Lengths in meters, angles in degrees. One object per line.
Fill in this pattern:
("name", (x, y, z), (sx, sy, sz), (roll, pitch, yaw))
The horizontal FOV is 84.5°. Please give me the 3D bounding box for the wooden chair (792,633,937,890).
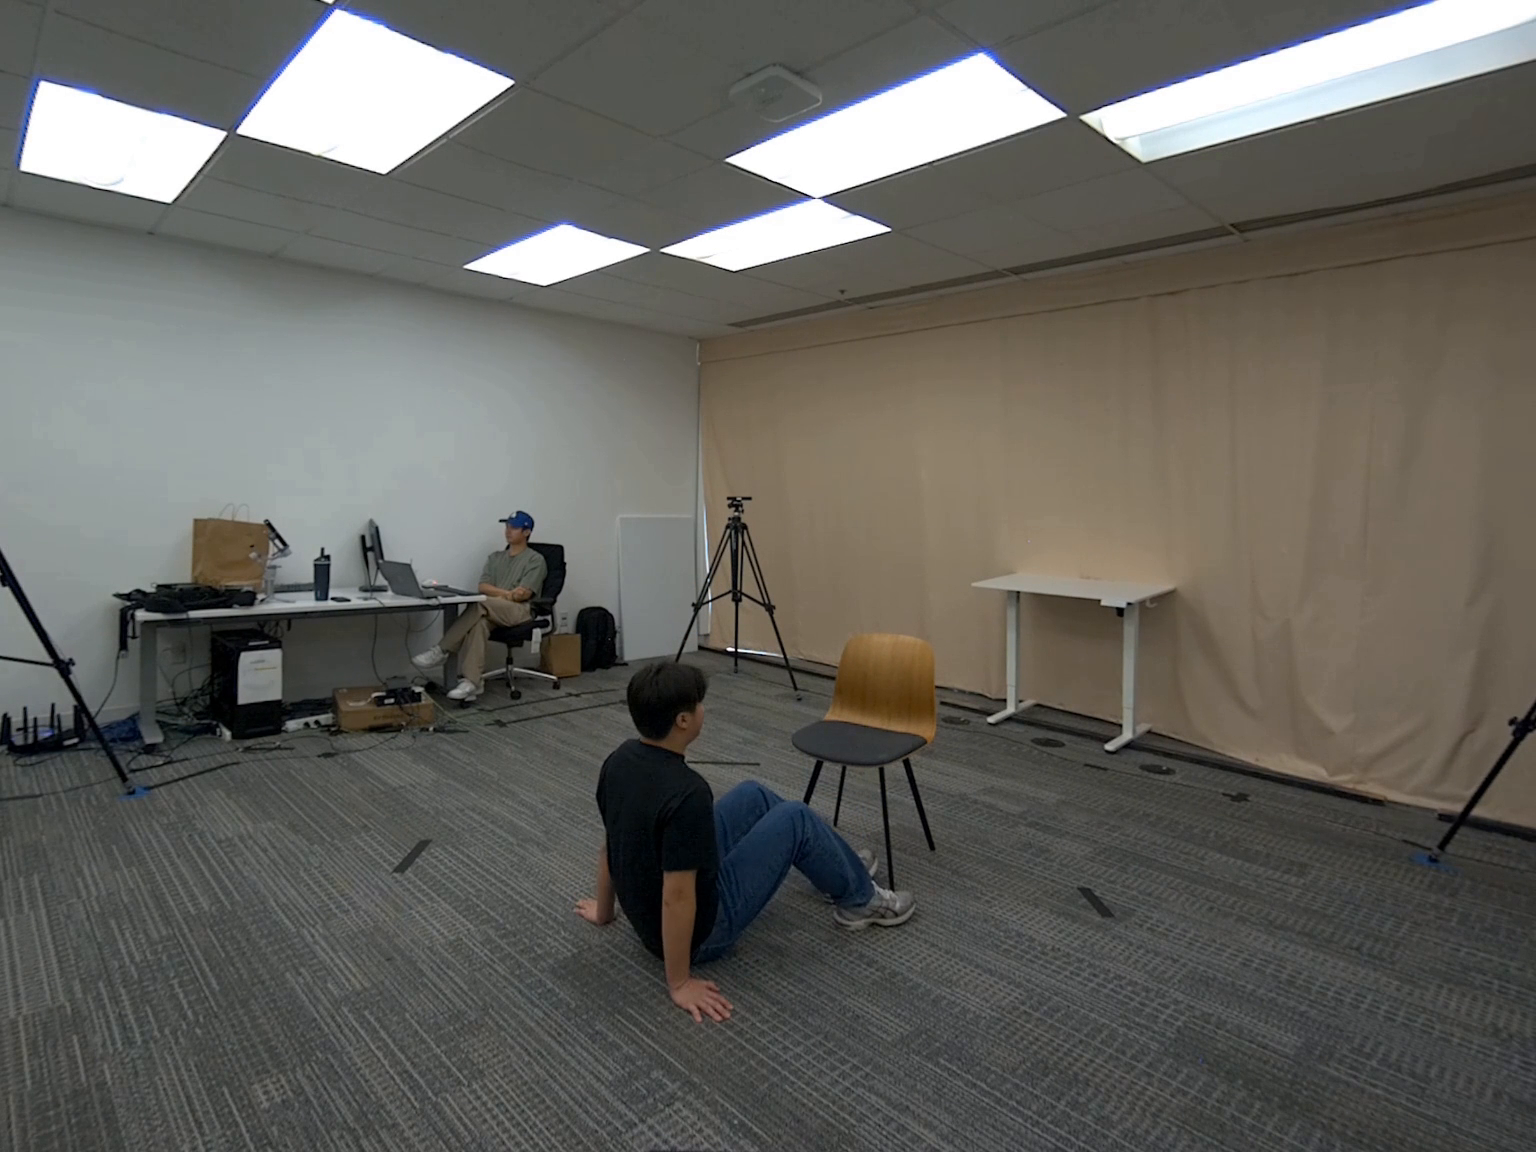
("wooden chair", (0.370, 0.677, 3.283), (0.489, 0.878, 0.511), (3, -1, 32))
